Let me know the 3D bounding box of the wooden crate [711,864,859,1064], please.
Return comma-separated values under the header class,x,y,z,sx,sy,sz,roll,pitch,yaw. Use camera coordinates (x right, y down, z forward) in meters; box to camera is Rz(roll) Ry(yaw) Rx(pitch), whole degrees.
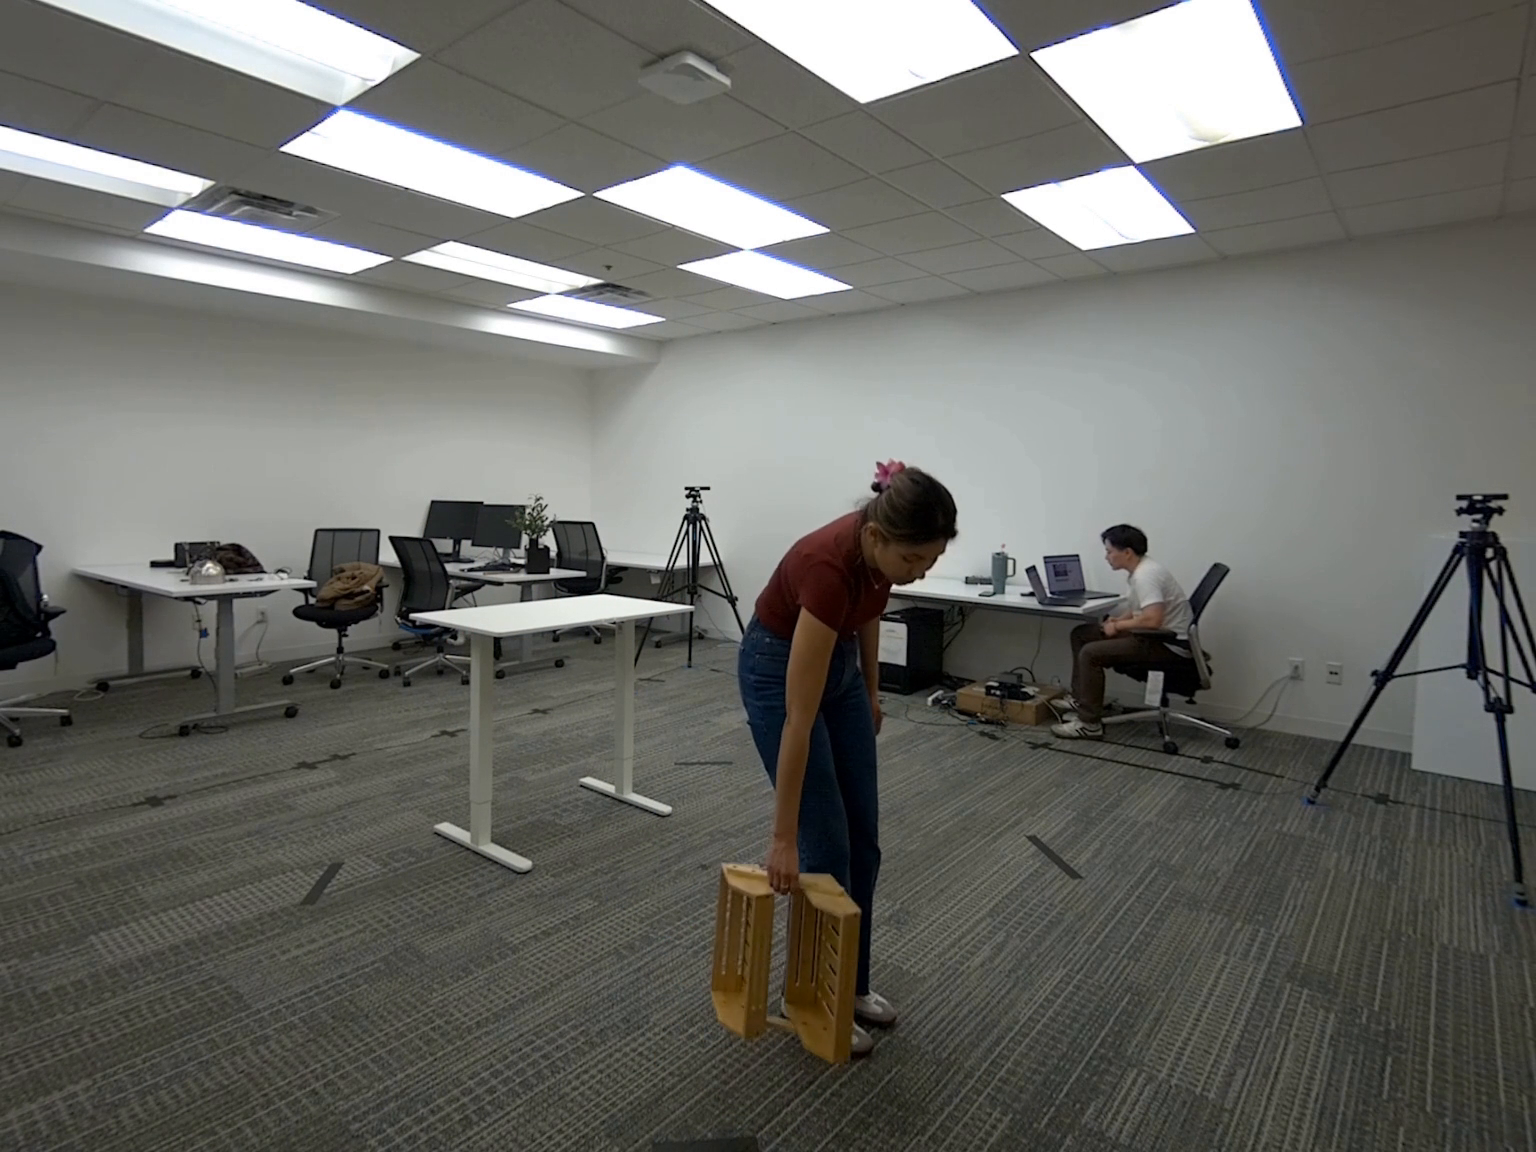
class,x,y,z,sx,sy,sz,roll,pitch,yaw
wooden crate,0.017,0.845,1.902,0.270,0.325,0.305,6,-3,-11
